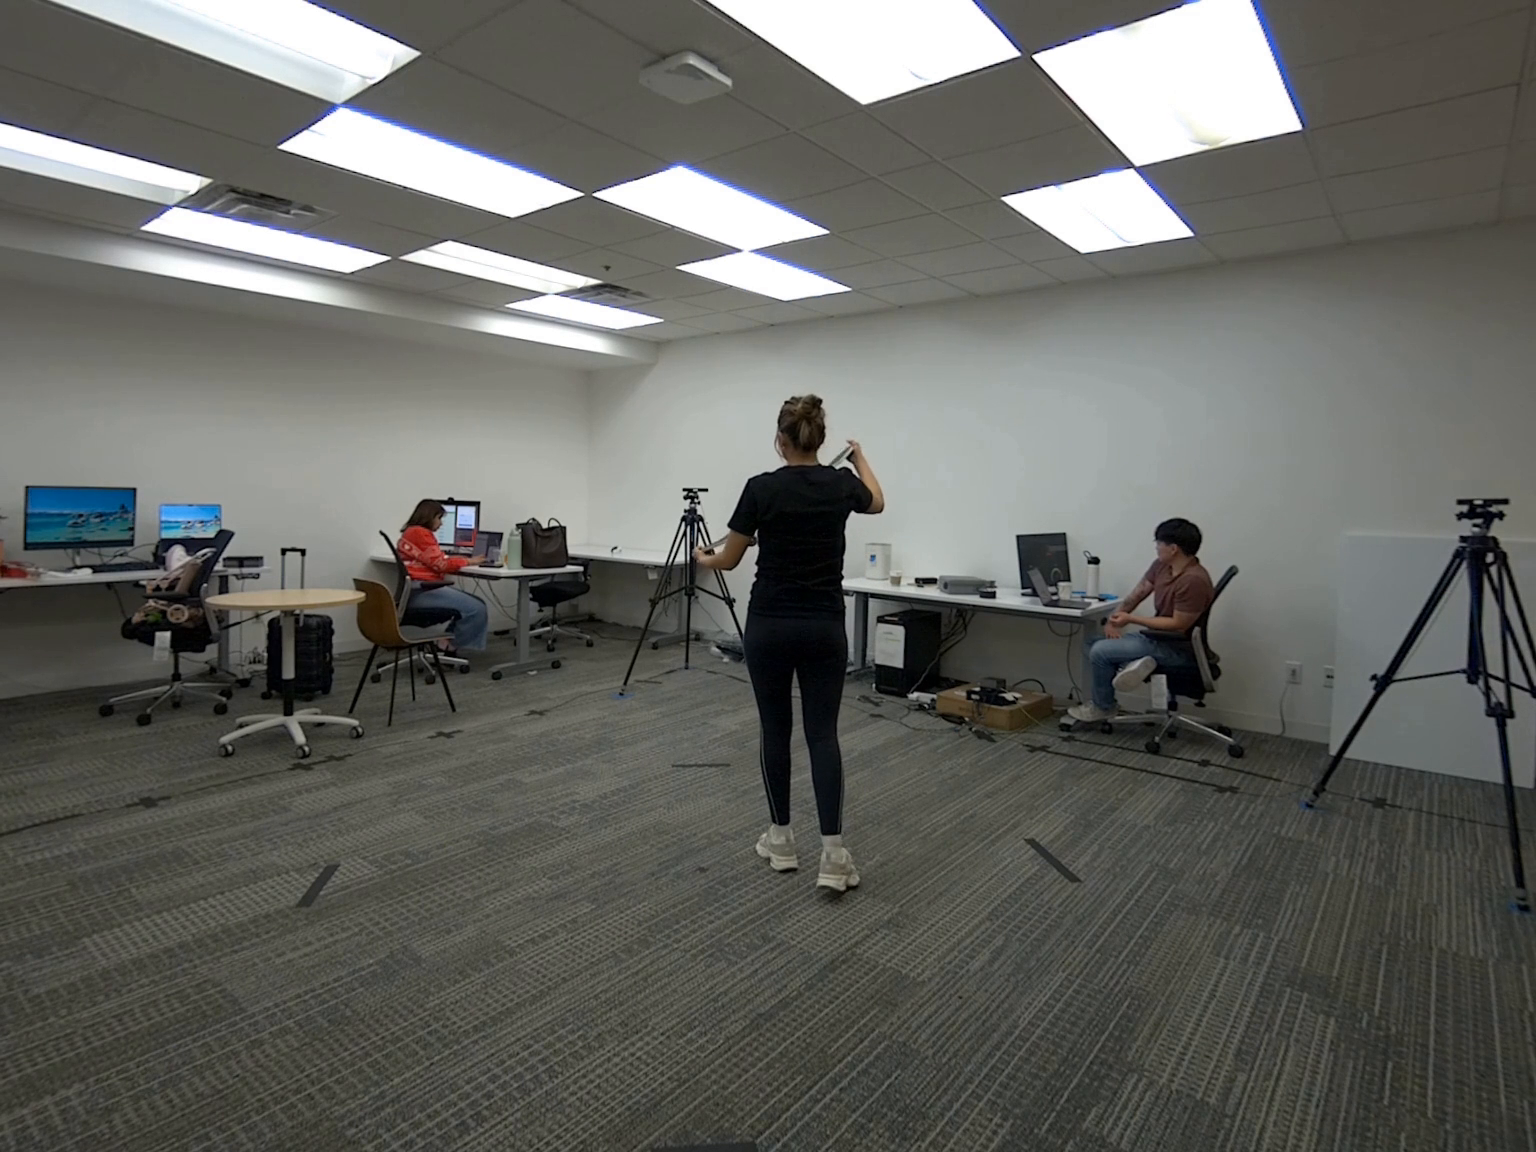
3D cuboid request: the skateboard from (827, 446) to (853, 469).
[{"bbox_3d":[0.052,-0.271,3.493,0.783,0.109,0.196,-36,7,-10],"label":"skateboard"}]
